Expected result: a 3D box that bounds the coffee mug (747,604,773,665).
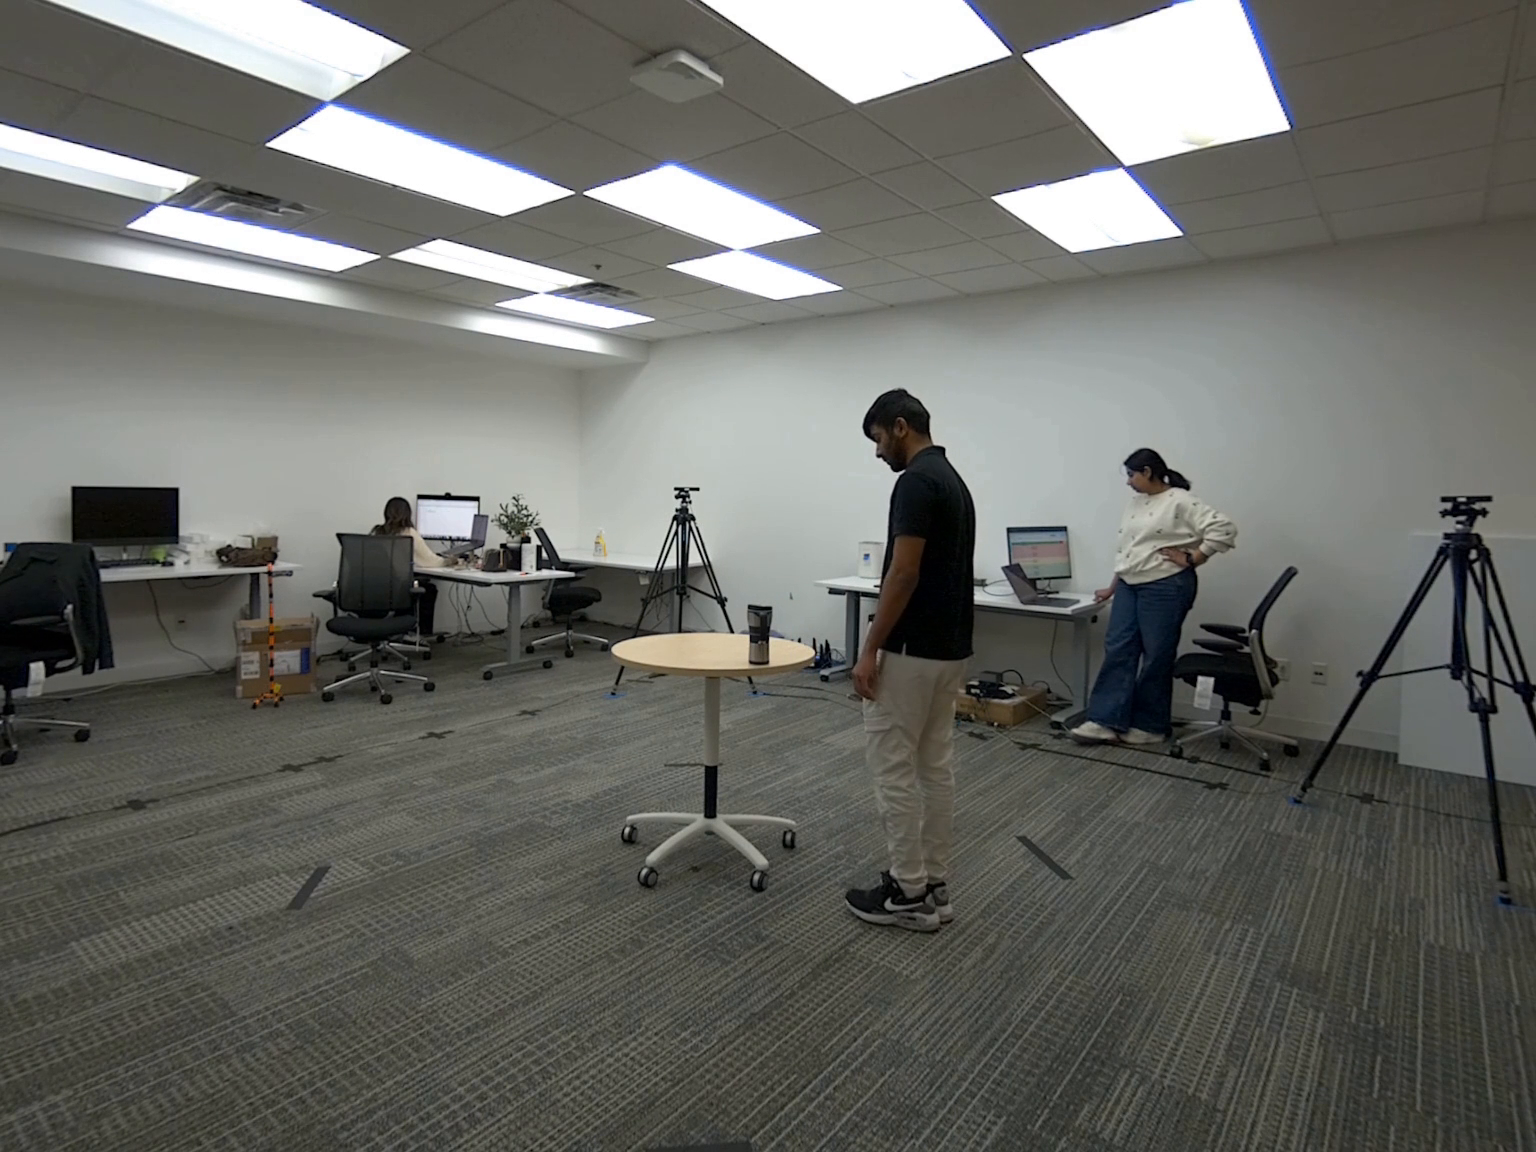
[{"bbox_3d":[-0.050,0.199,2.921,0.089,0.203,0.119,1,-2,16],"label":"coffee mug"}]
